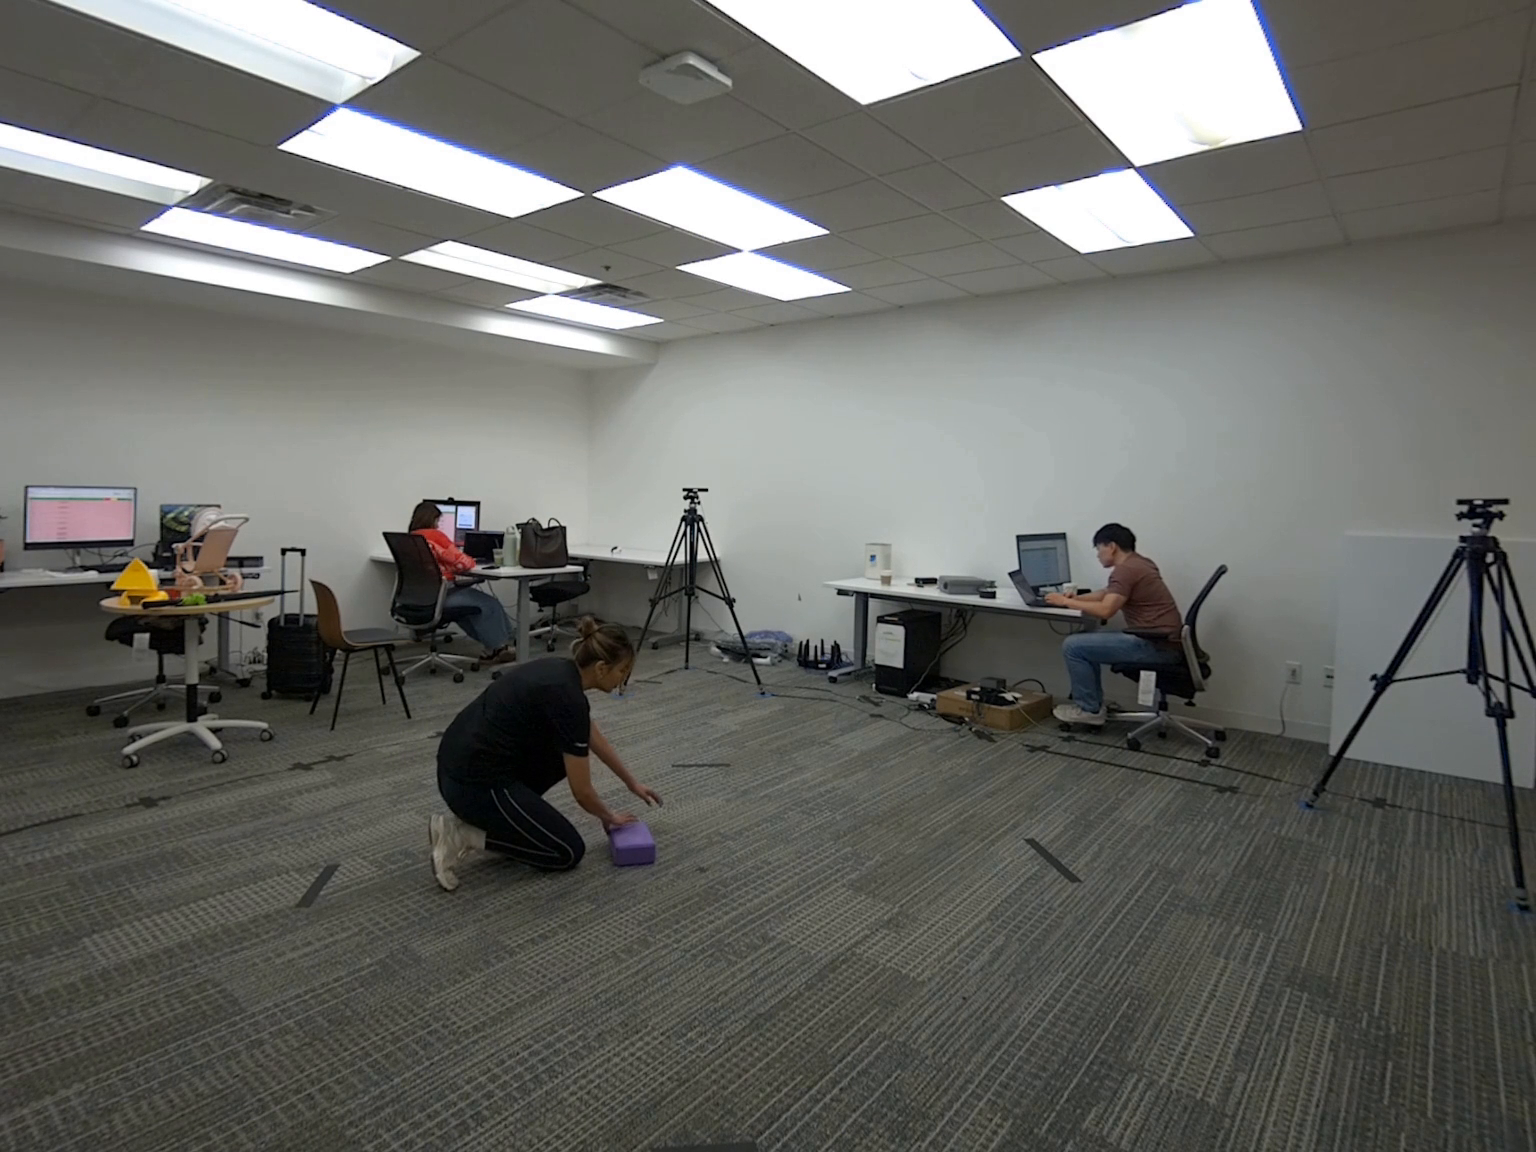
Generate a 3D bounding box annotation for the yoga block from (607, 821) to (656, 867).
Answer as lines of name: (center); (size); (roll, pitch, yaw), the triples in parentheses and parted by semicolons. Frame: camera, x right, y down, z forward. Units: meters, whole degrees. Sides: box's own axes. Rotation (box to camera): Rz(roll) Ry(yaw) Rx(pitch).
yoga block: (-0.530, 1.014, 3.227); (0.146, 0.076, 0.234); (0, 5, -17)
